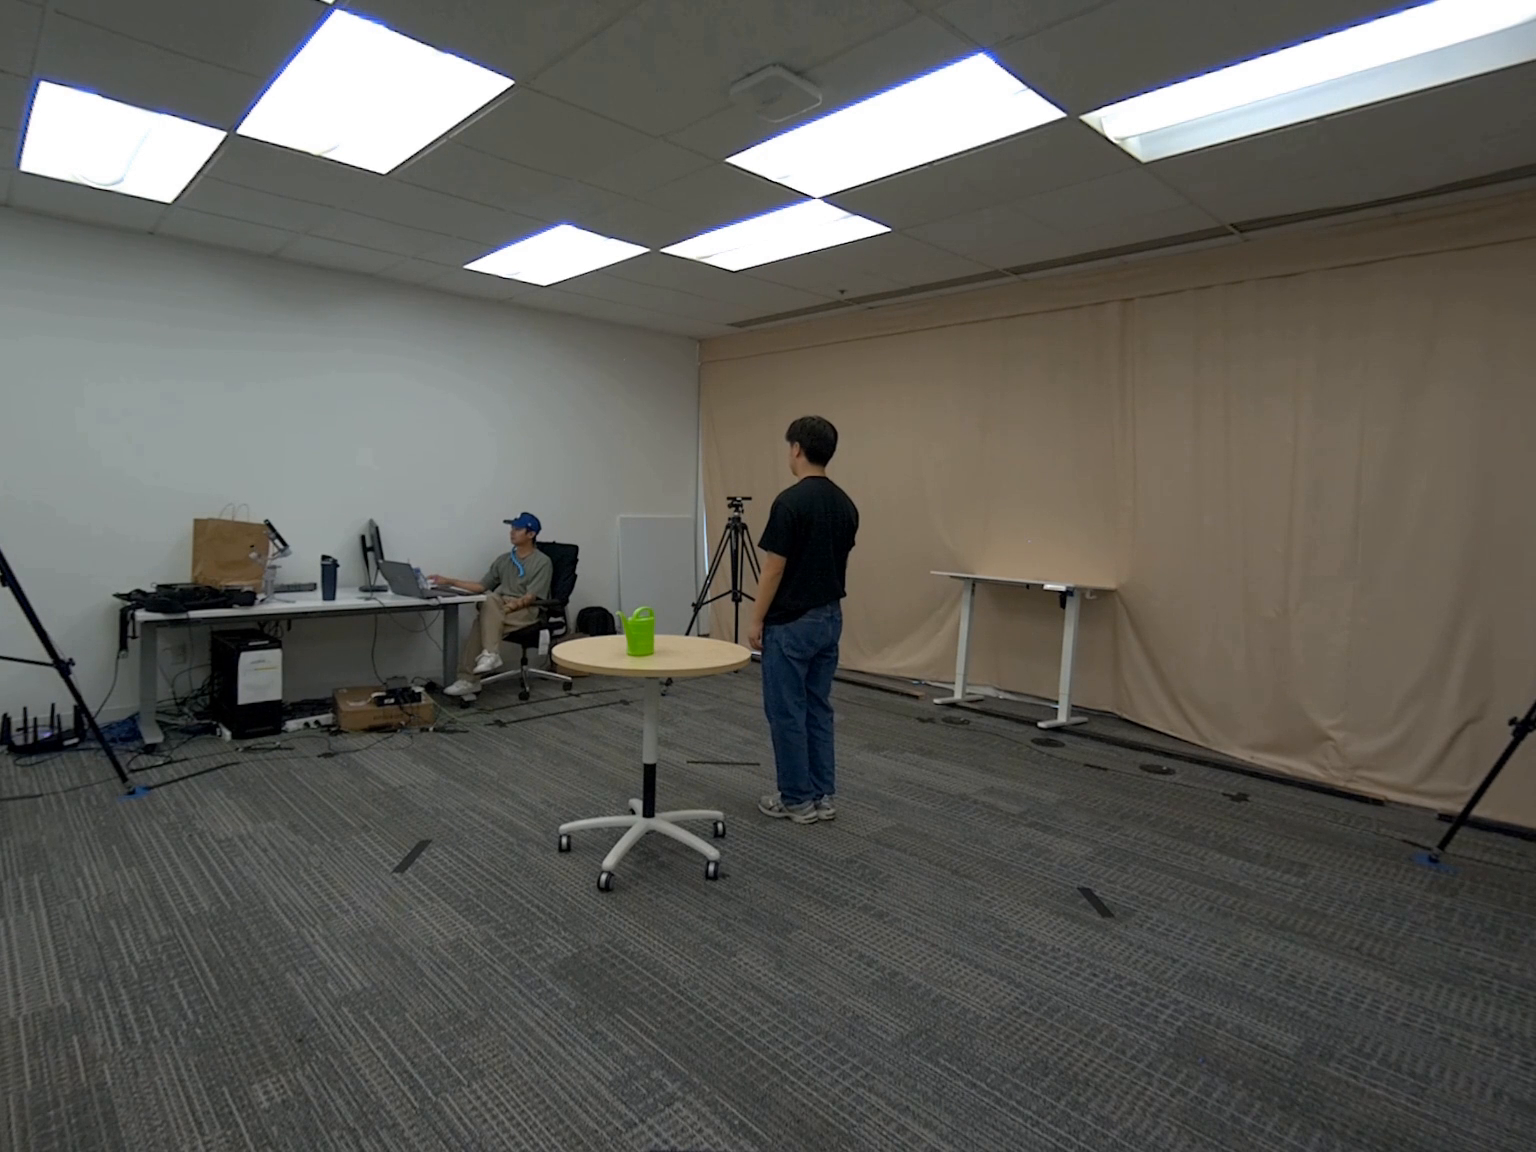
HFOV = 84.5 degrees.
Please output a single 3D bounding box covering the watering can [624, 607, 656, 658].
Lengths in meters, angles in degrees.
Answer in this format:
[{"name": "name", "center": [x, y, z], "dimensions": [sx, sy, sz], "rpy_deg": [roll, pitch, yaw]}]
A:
[{"name": "watering can", "center": [-0.503, 0.210, 3.146], "dimensions": [0.100, 0.177, 0.272], "rpy_deg": [2, 1, 31]}]
